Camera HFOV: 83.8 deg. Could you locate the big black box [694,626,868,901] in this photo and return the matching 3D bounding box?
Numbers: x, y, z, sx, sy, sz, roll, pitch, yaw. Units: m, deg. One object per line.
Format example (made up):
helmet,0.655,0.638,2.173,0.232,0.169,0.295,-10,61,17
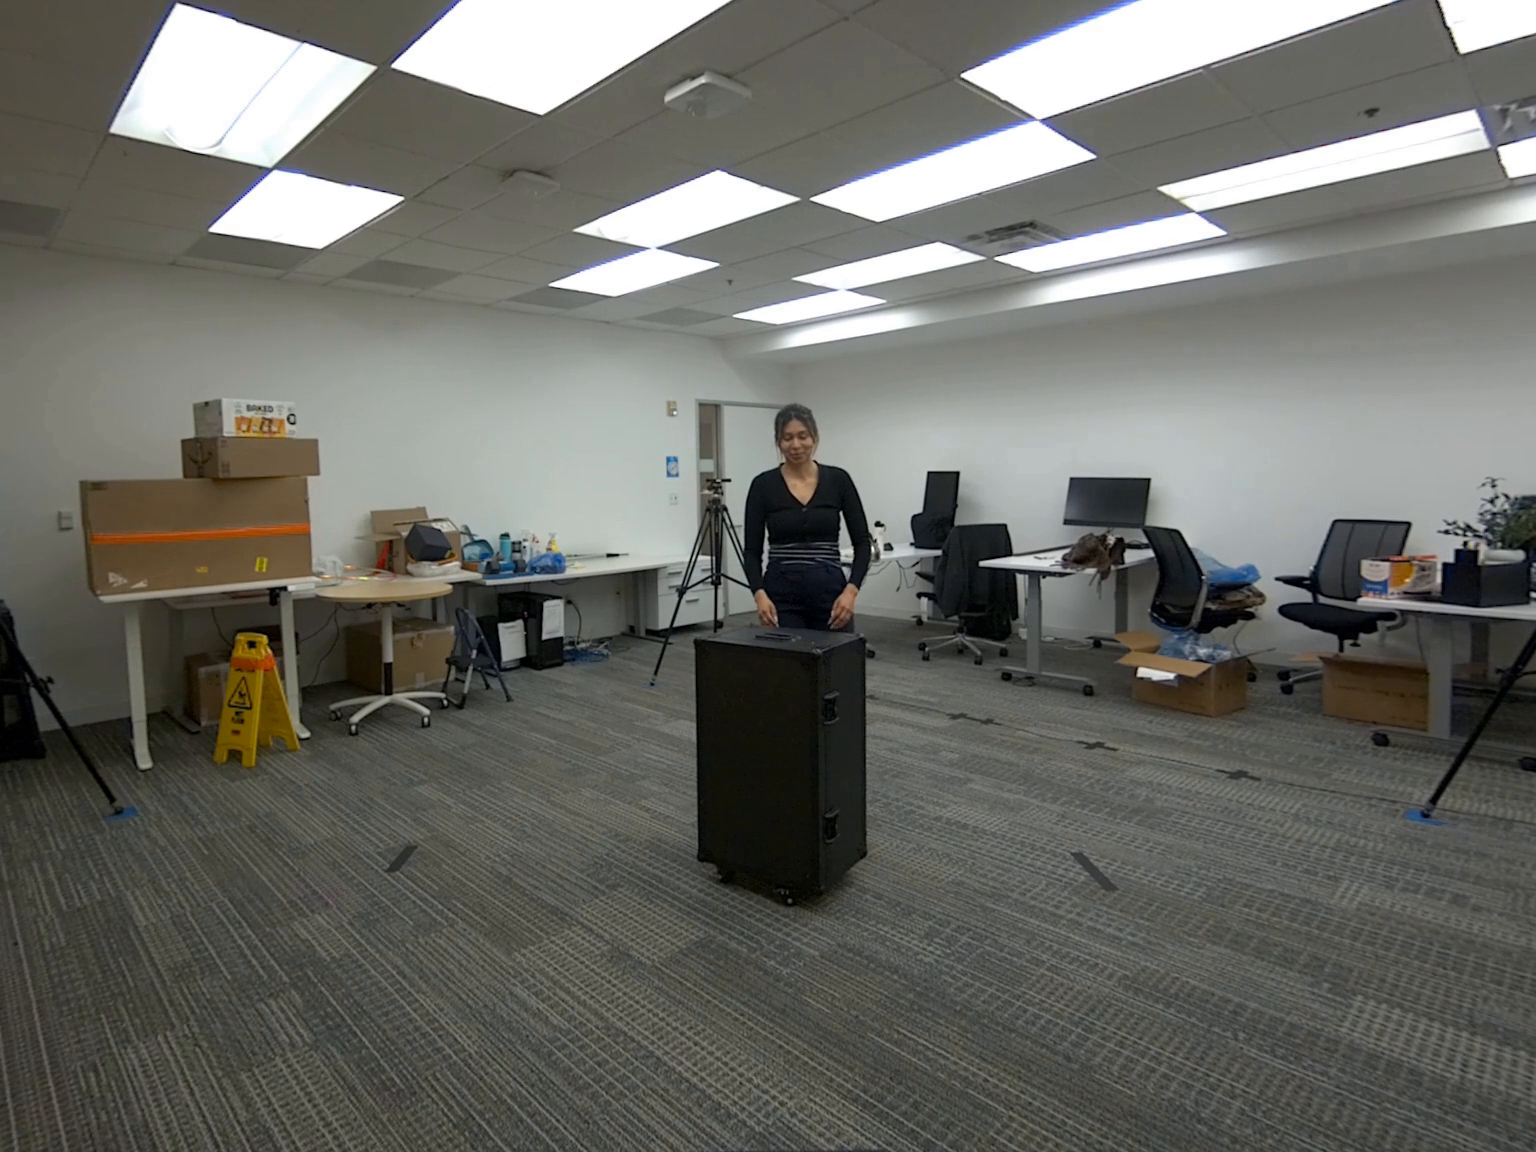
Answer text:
big black box,0.049,0.636,2.977,0.536,0.860,0.386,2,3,34
